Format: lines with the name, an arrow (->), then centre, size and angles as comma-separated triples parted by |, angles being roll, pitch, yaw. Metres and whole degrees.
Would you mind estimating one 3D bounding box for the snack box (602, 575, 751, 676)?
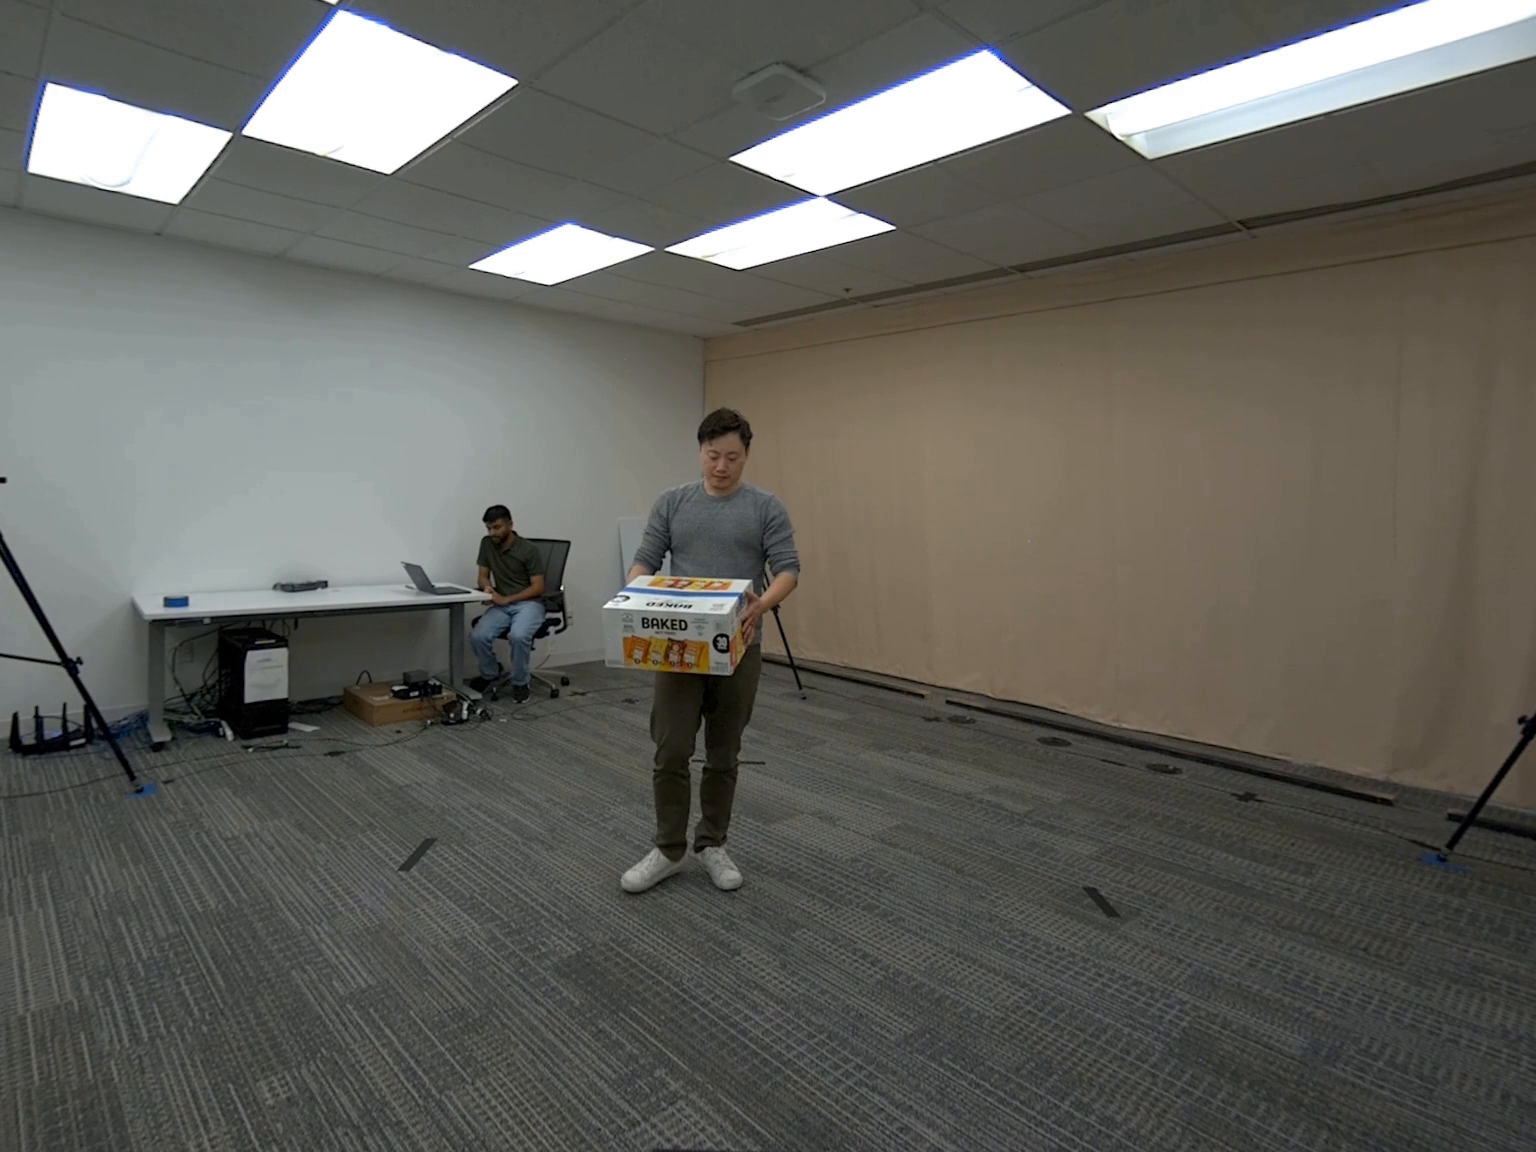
snack box -> -0.290, 0.150, 2.723 | 0.410, 0.203, 0.340 | 2, 16, 13
